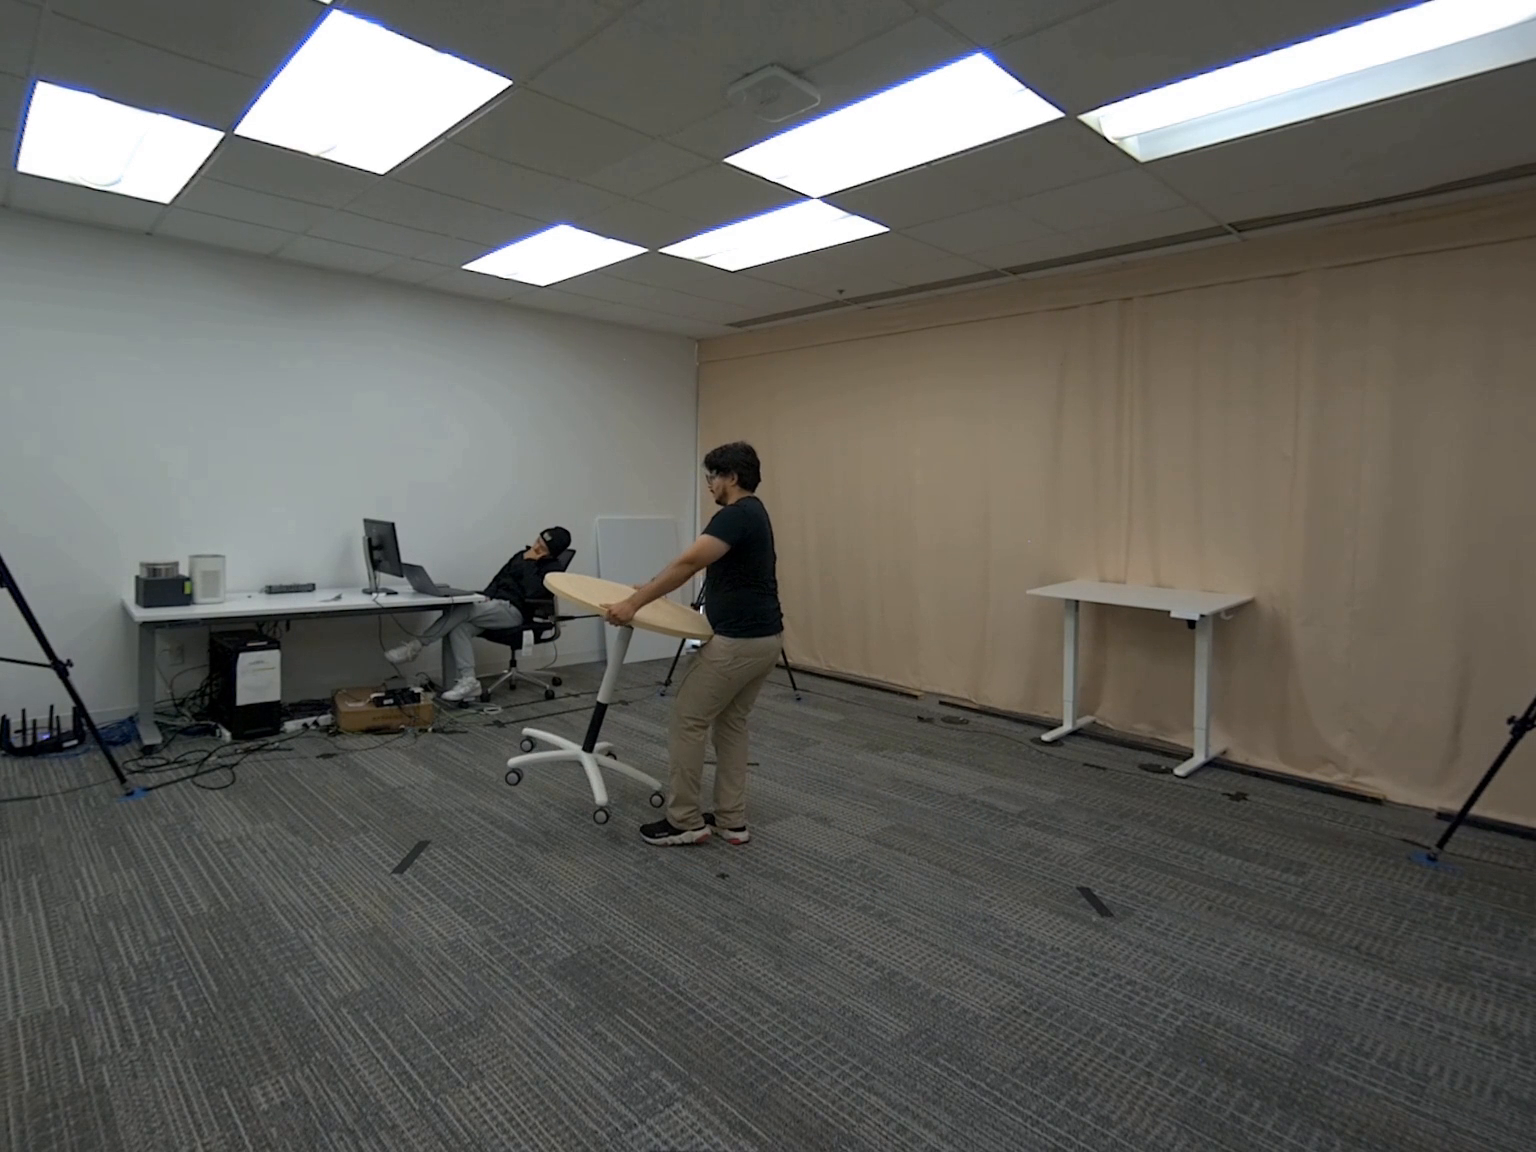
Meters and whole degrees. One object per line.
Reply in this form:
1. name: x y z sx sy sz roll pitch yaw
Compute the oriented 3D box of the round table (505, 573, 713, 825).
1. round table: -0.679 0.492 3.500 0.784 0.785 0.788 17 4 -3
